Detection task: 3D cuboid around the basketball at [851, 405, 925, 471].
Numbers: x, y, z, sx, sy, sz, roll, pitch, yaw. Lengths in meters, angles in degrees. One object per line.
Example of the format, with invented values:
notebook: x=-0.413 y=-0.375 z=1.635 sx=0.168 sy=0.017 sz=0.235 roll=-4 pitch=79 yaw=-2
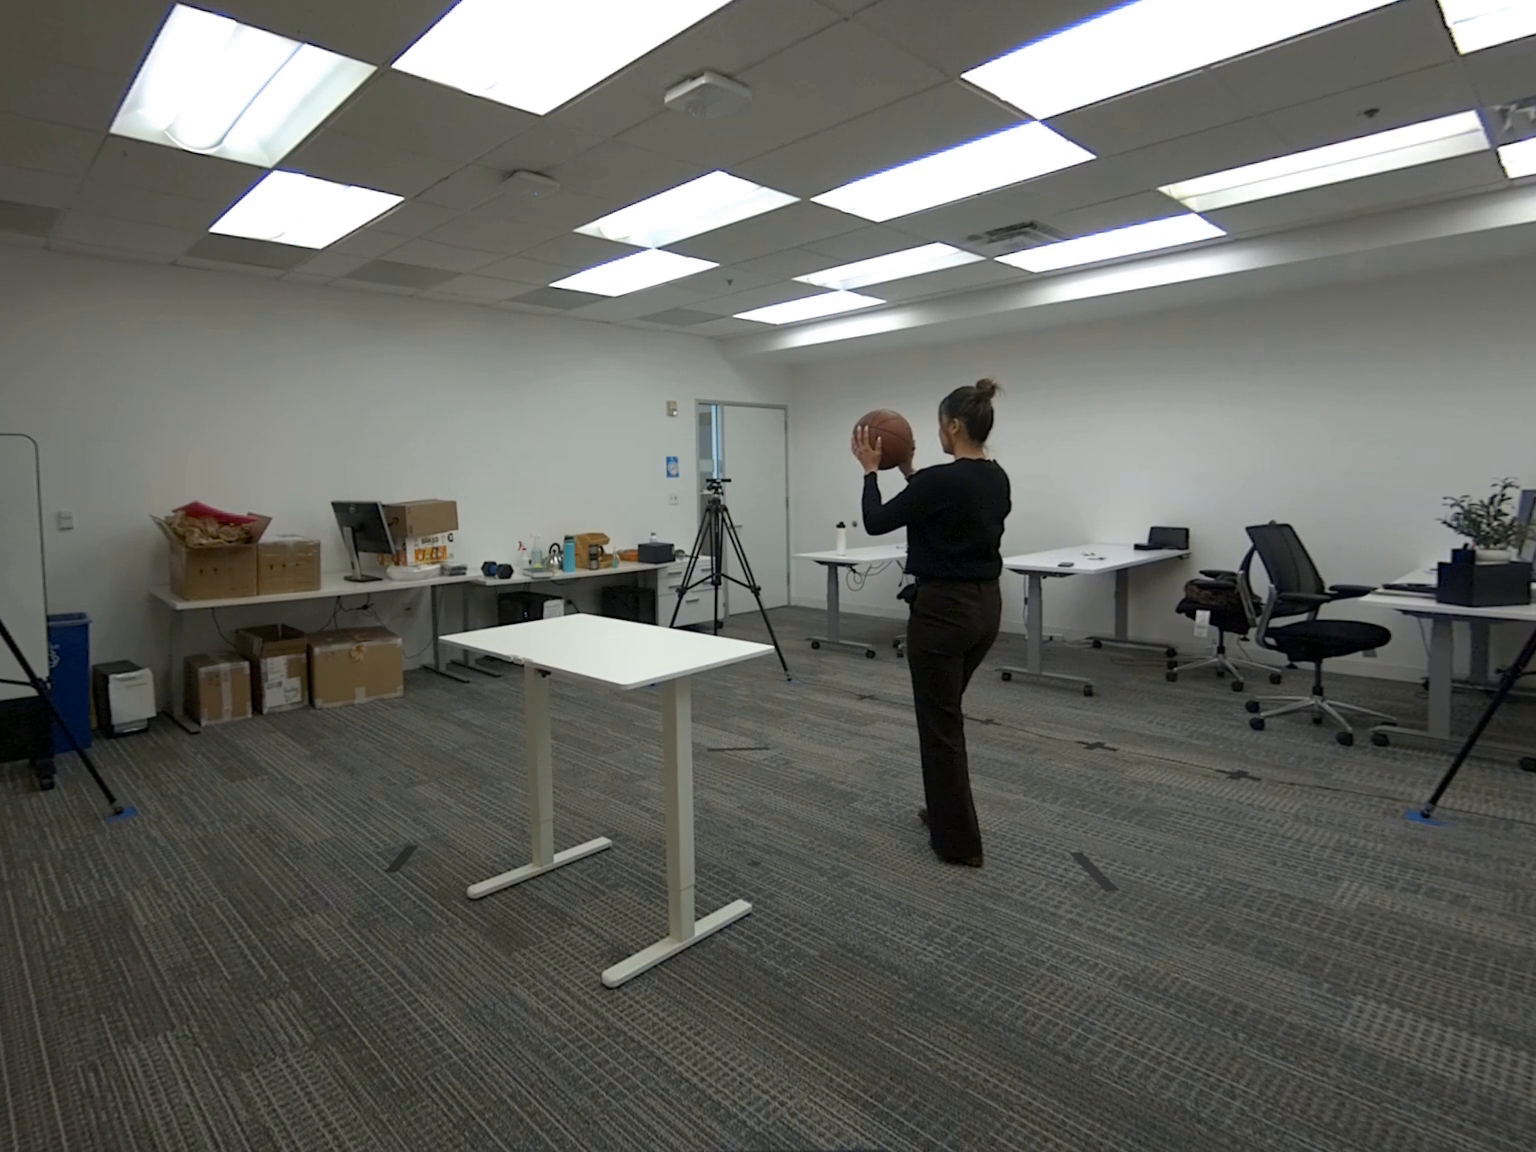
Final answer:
basketball: x=0.458 y=-0.532 z=3.323 sx=0.236 sy=0.235 sz=0.237 roll=-1 pitch=5 yaw=-2
